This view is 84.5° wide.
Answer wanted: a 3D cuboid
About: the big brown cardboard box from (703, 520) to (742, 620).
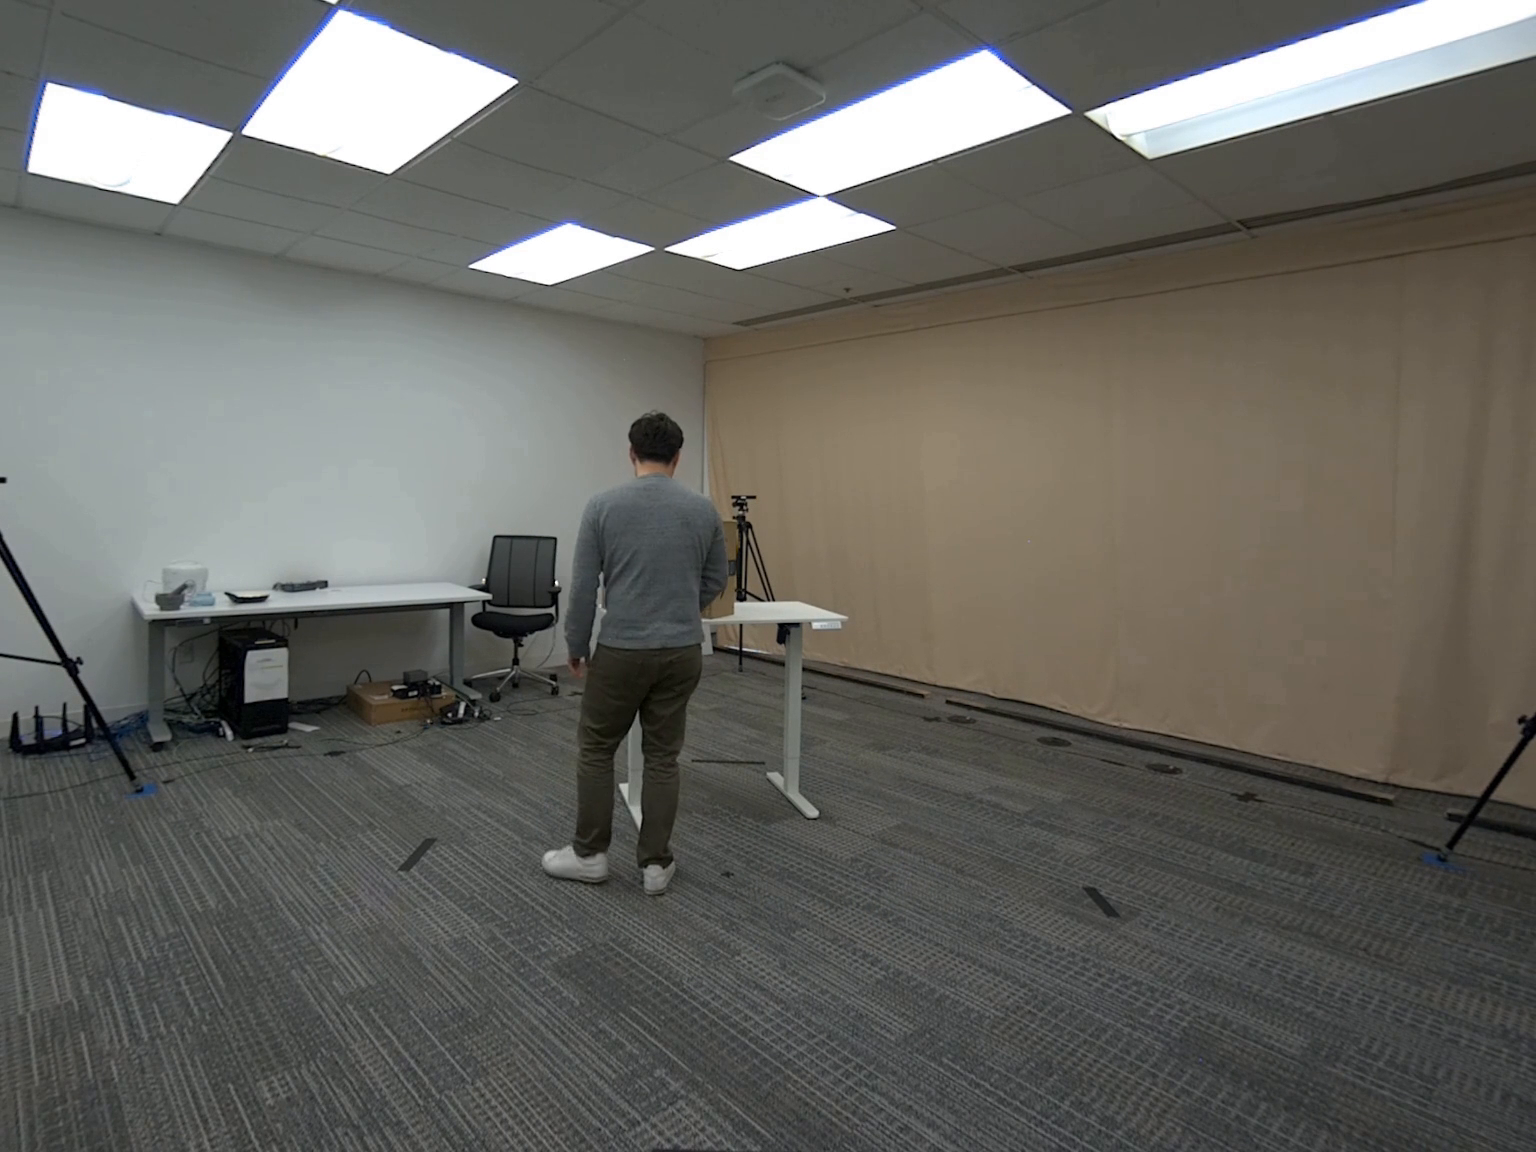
[{"bbox_3d":[-0.432,-0.043,3.713,0.601,0.417,0.229,3,3,28],"label":"big brown cardboard box"}]
